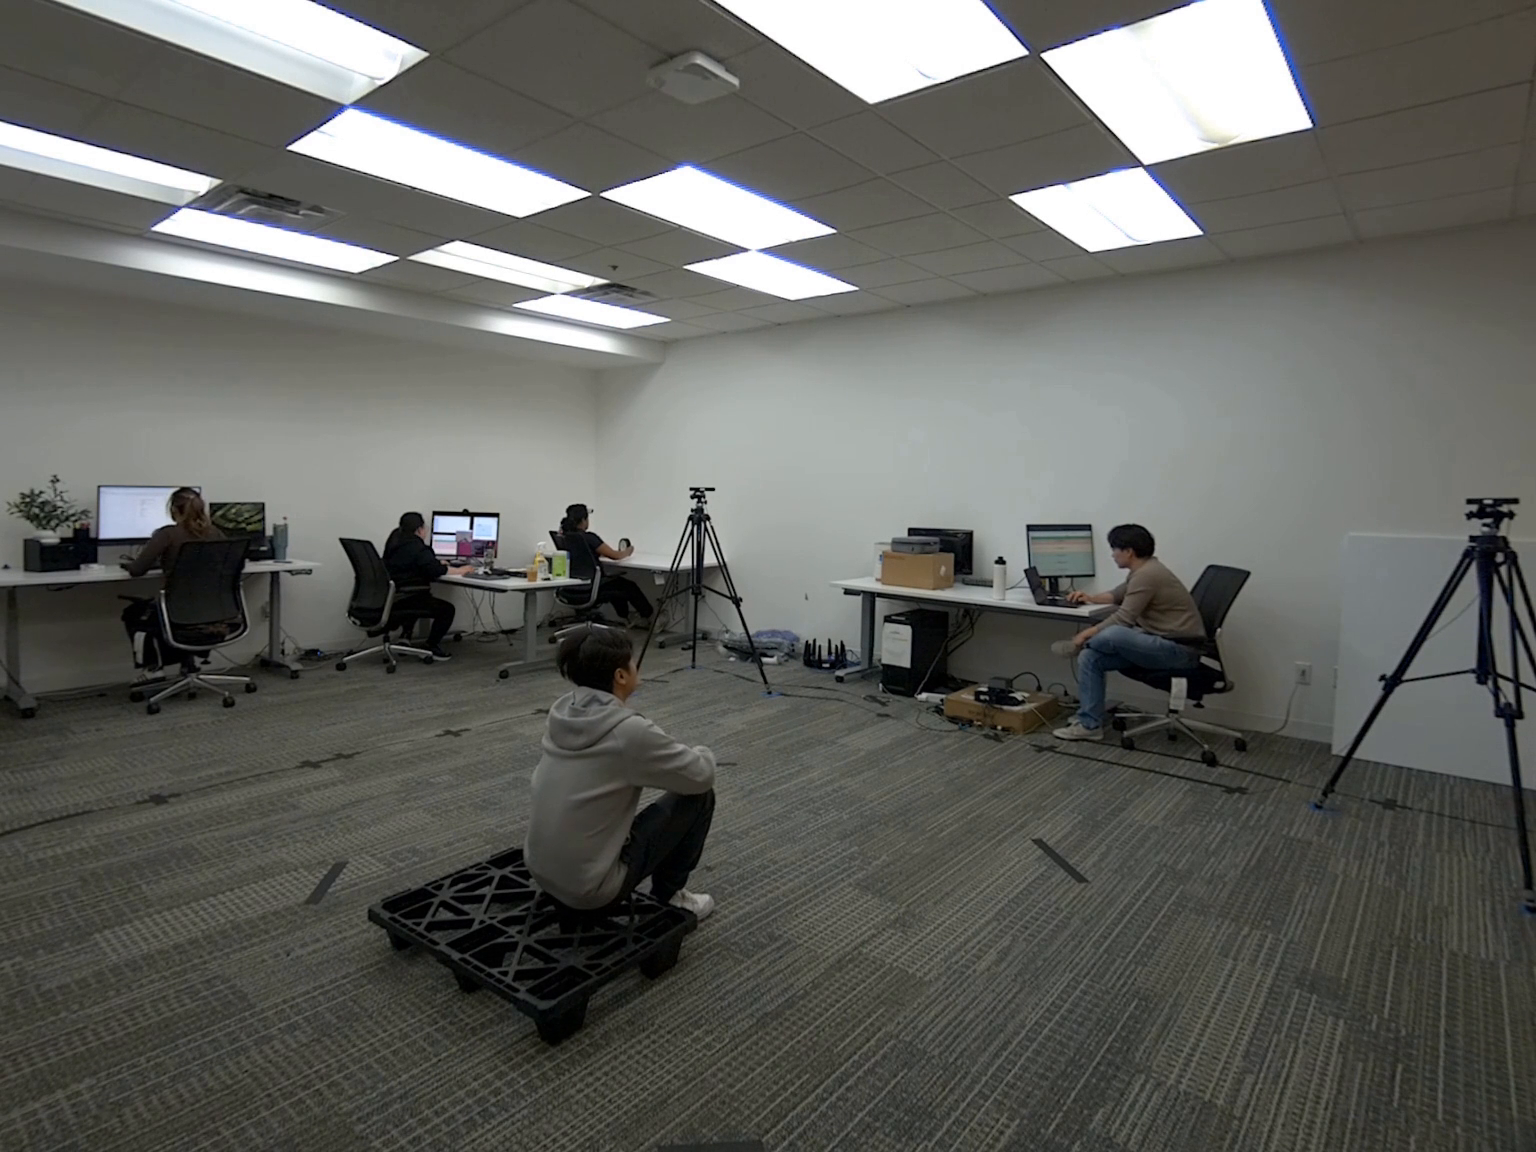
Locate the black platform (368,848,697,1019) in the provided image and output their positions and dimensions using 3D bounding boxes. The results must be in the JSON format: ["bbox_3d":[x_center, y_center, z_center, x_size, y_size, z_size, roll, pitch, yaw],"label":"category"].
[{"bbox_3d":[-0.706,1.051,2.518,0.832,0.143,0.588,5,7,36],"label":"black platform"}]
